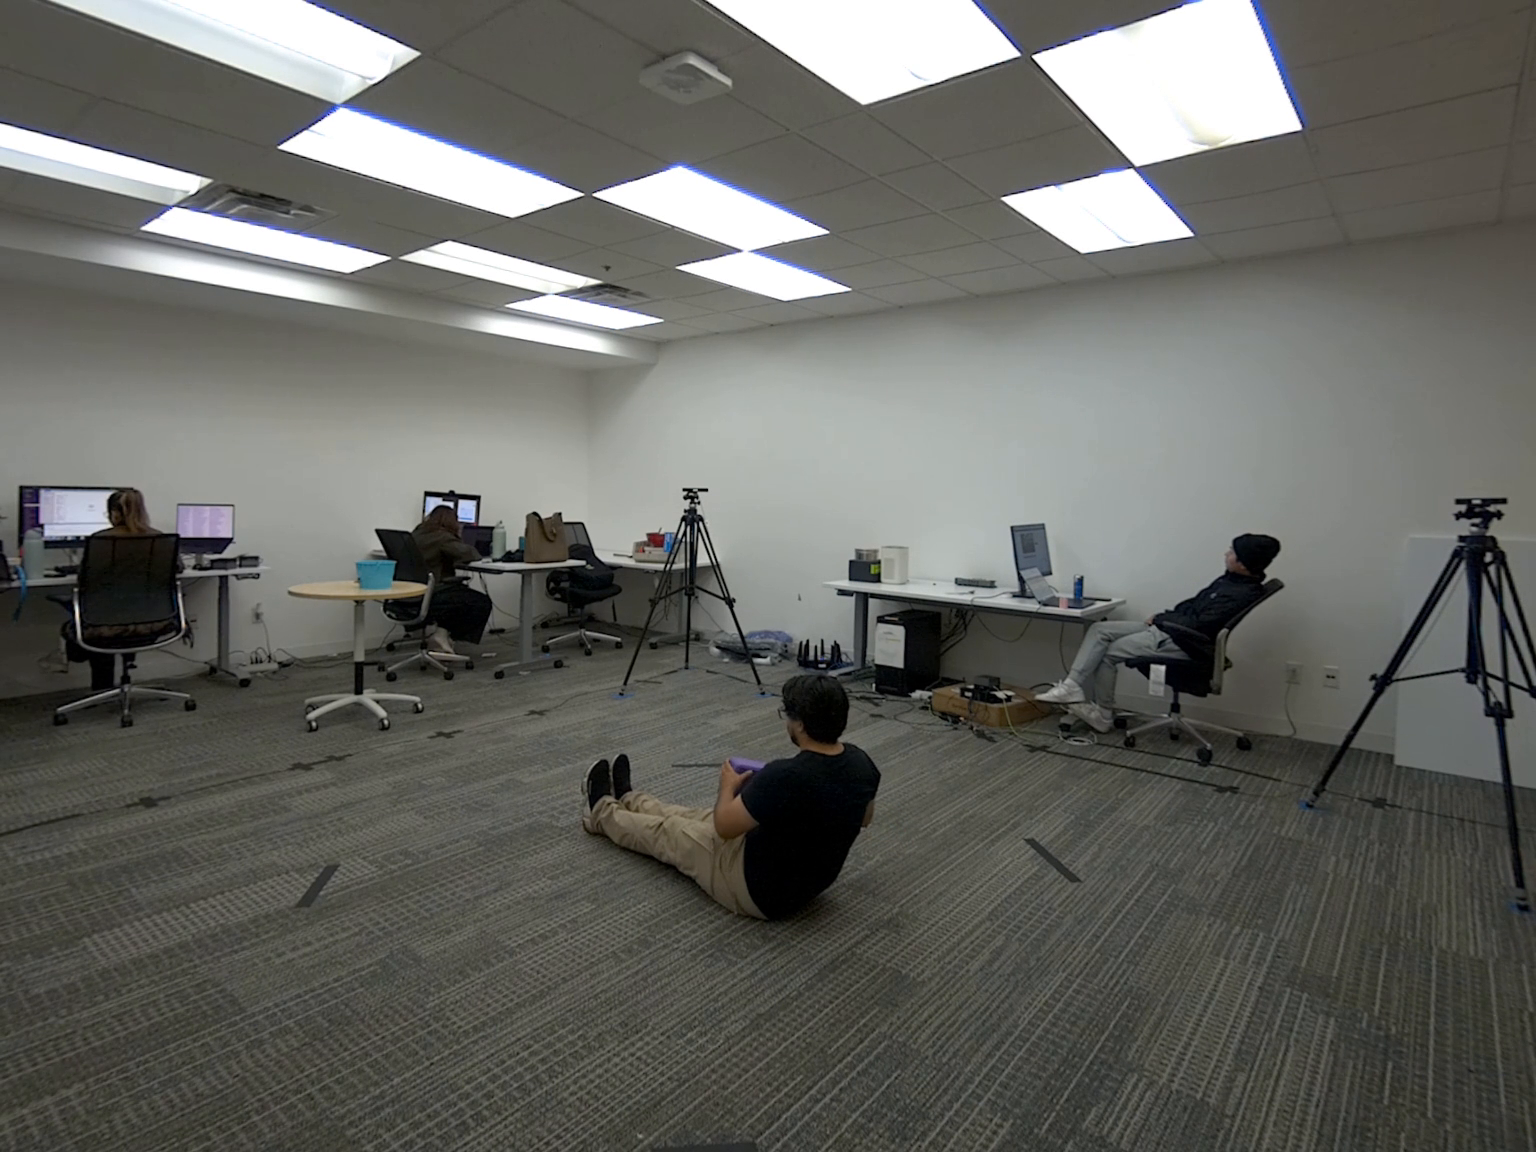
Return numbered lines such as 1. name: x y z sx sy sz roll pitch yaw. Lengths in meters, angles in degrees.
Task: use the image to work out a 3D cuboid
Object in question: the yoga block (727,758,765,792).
1. yoga block: -0.049 0.760 3.140 0.222 0.148 0.079 16 5 -29
